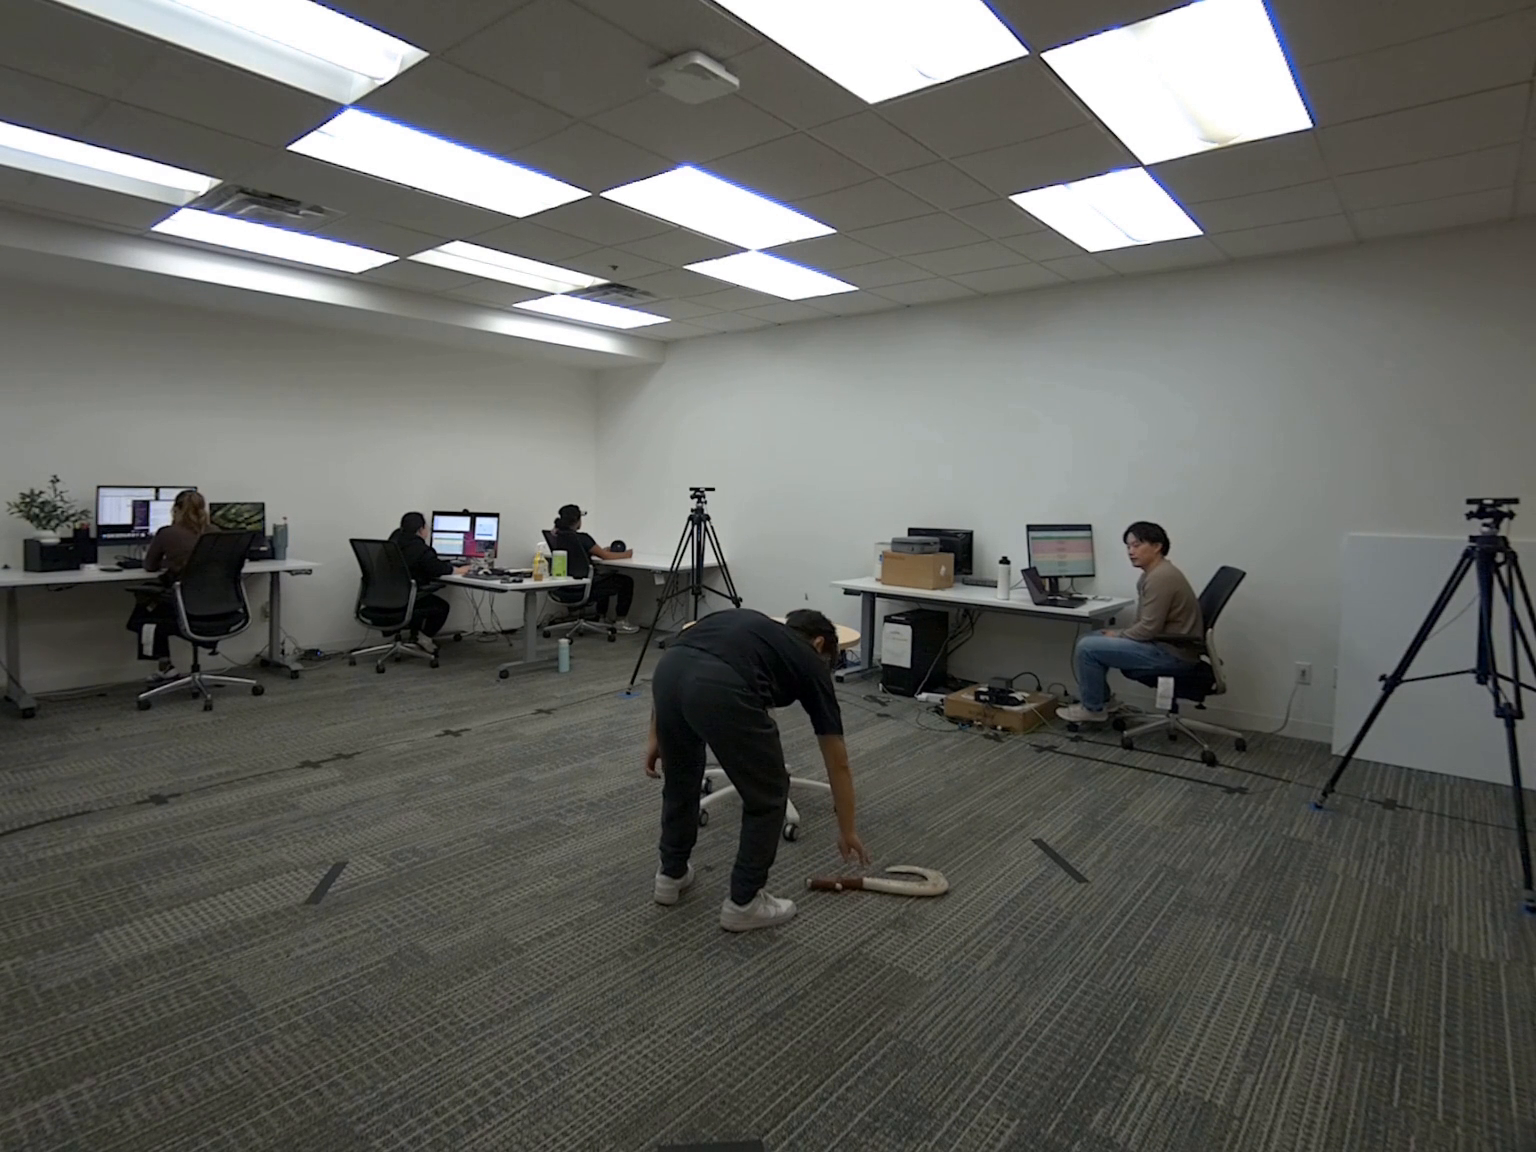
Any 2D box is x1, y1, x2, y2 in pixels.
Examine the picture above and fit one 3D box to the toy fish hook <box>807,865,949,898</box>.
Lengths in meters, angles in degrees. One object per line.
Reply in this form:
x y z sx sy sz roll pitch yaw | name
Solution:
0.376 1.078 3.020 0.506 0.048 0.224 2 -2 -1 | toy fish hook
